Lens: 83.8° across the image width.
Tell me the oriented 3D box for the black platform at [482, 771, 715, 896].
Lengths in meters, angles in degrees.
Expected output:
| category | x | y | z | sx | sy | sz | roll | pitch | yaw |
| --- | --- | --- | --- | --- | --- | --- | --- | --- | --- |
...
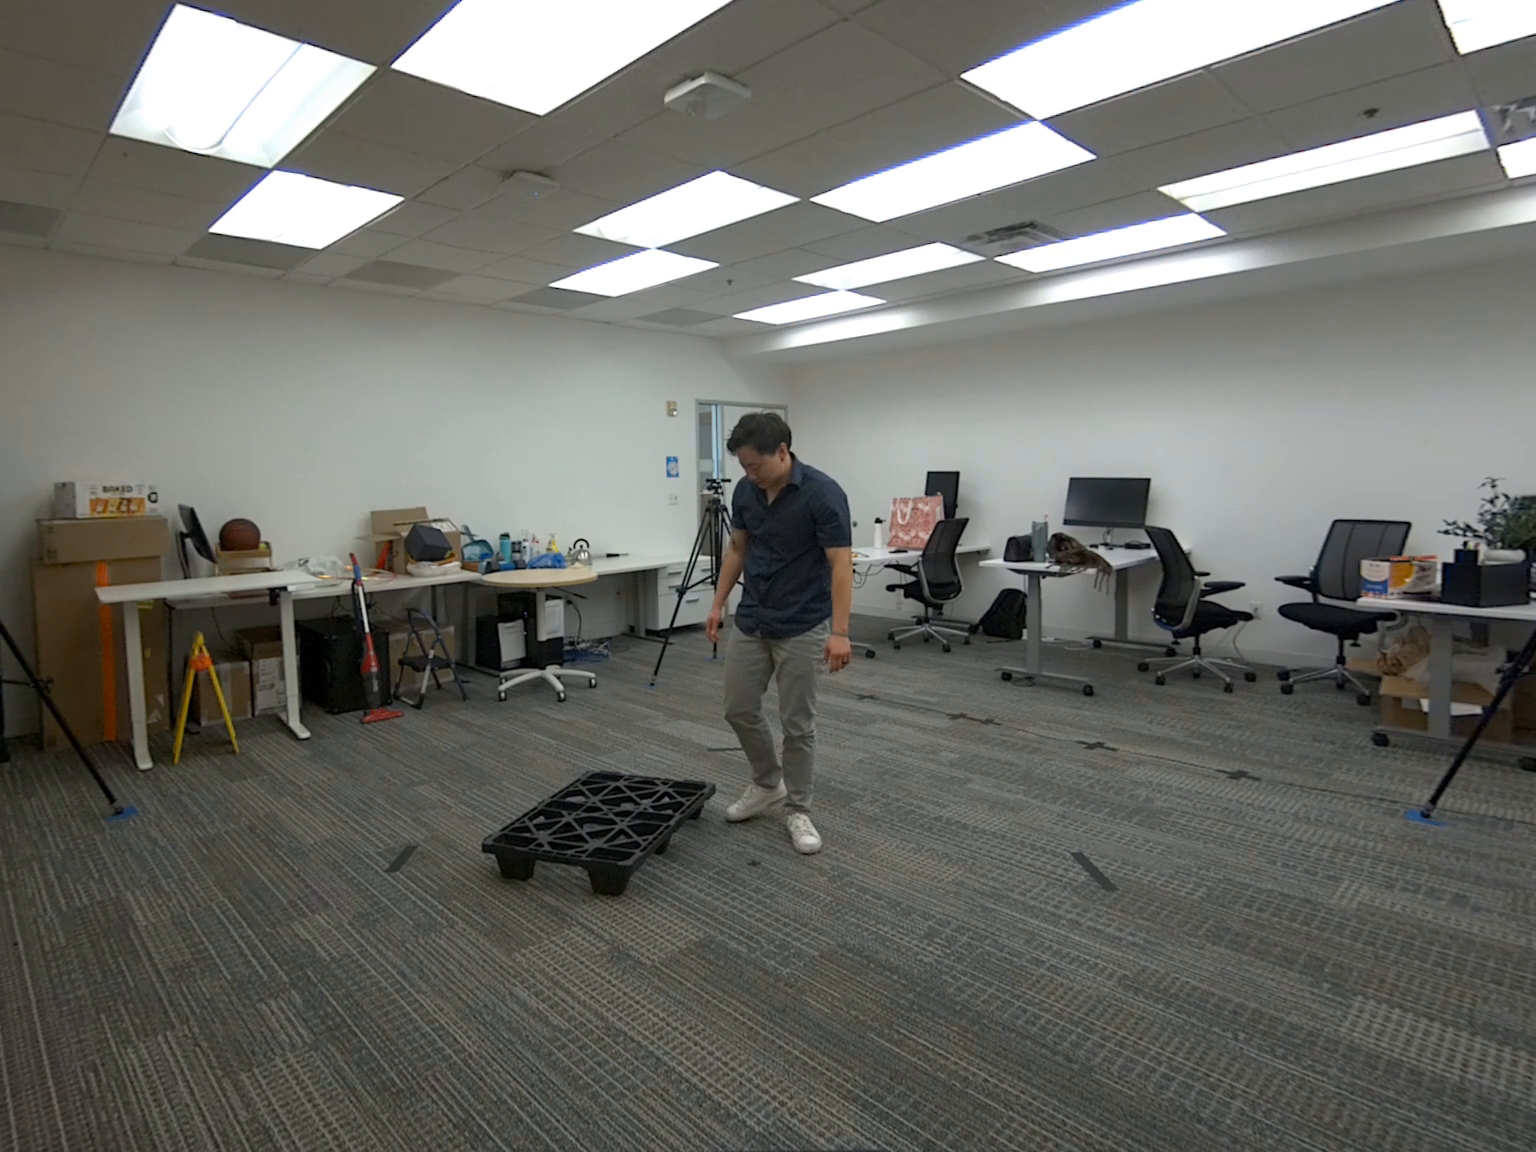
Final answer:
| category | x | y | z | sx | sy | sz | roll | pitch | yaw |
| --- | --- | --- | --- | --- | --- | --- | --- | --- | --- |
| black platform | -0.608 | 0.965 | 3.290 | 0.617 | 0.142 | 0.795 | 1 | 7 | 19 |
